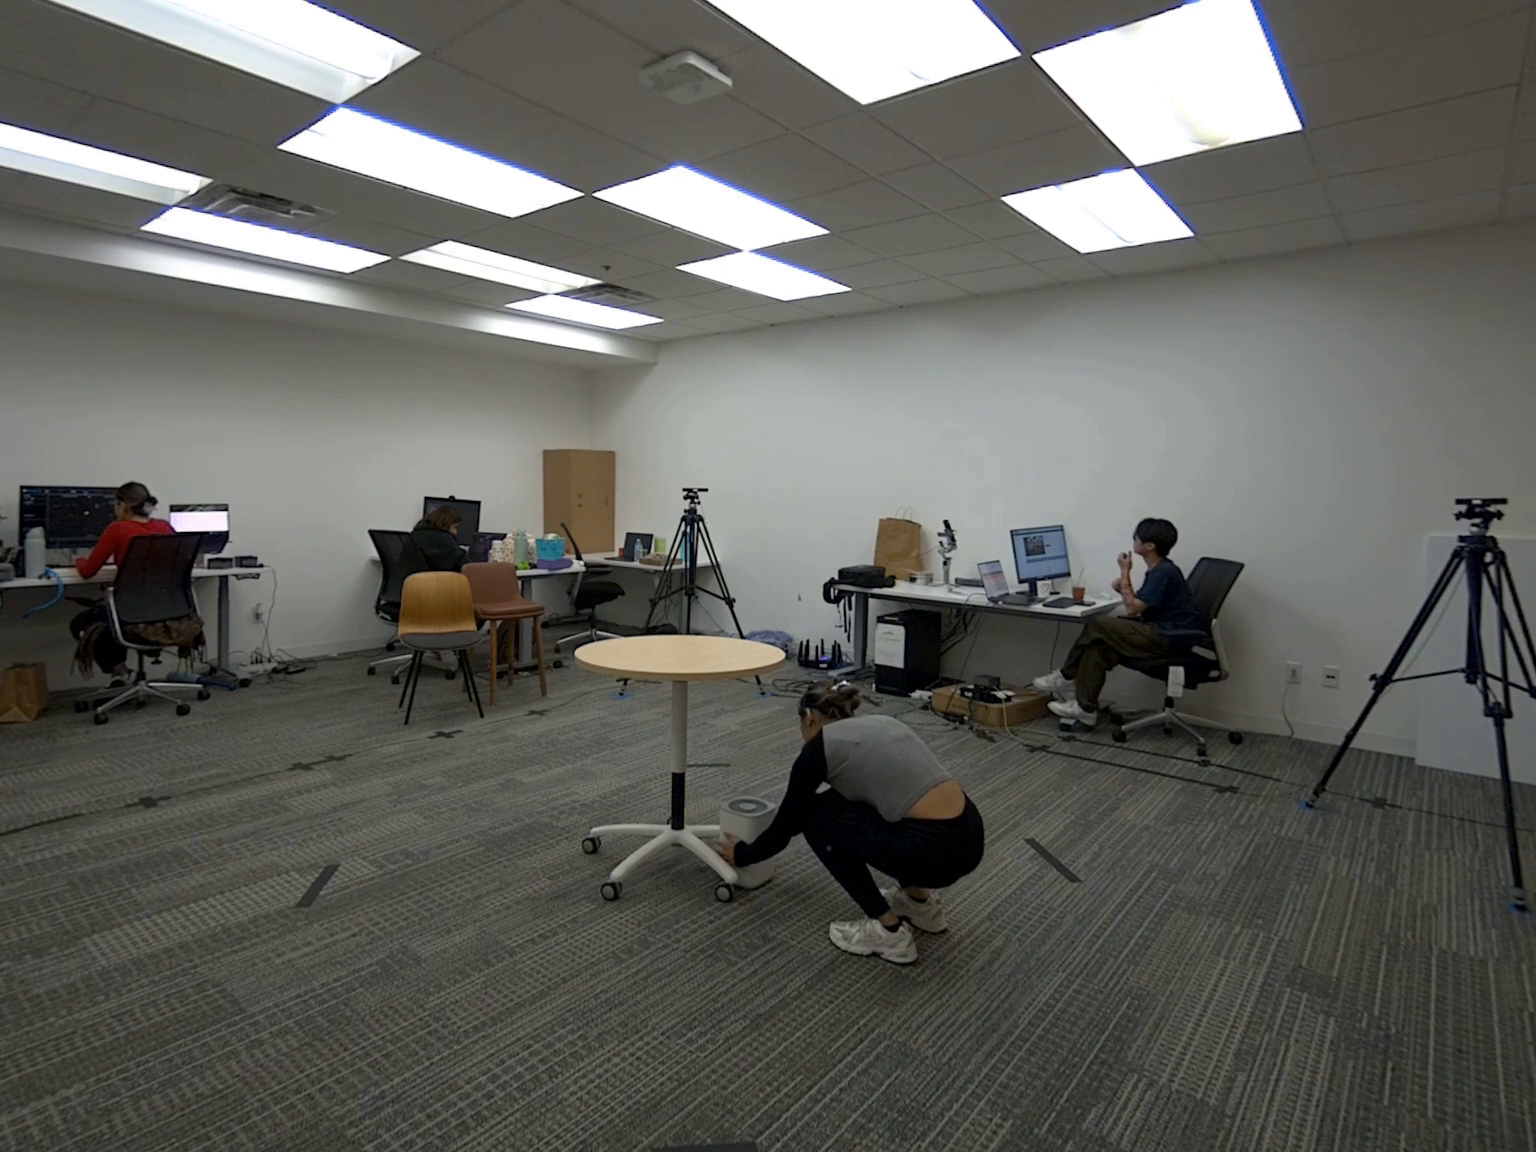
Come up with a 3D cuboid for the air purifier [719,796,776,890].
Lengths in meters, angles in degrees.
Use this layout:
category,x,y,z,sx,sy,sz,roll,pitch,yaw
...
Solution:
category,x,y,z,sx,sy,sz,roll,pitch,yaw
air purifier,-0.077,0.945,3.031,0.177,0.264,0.166,3,5,34
